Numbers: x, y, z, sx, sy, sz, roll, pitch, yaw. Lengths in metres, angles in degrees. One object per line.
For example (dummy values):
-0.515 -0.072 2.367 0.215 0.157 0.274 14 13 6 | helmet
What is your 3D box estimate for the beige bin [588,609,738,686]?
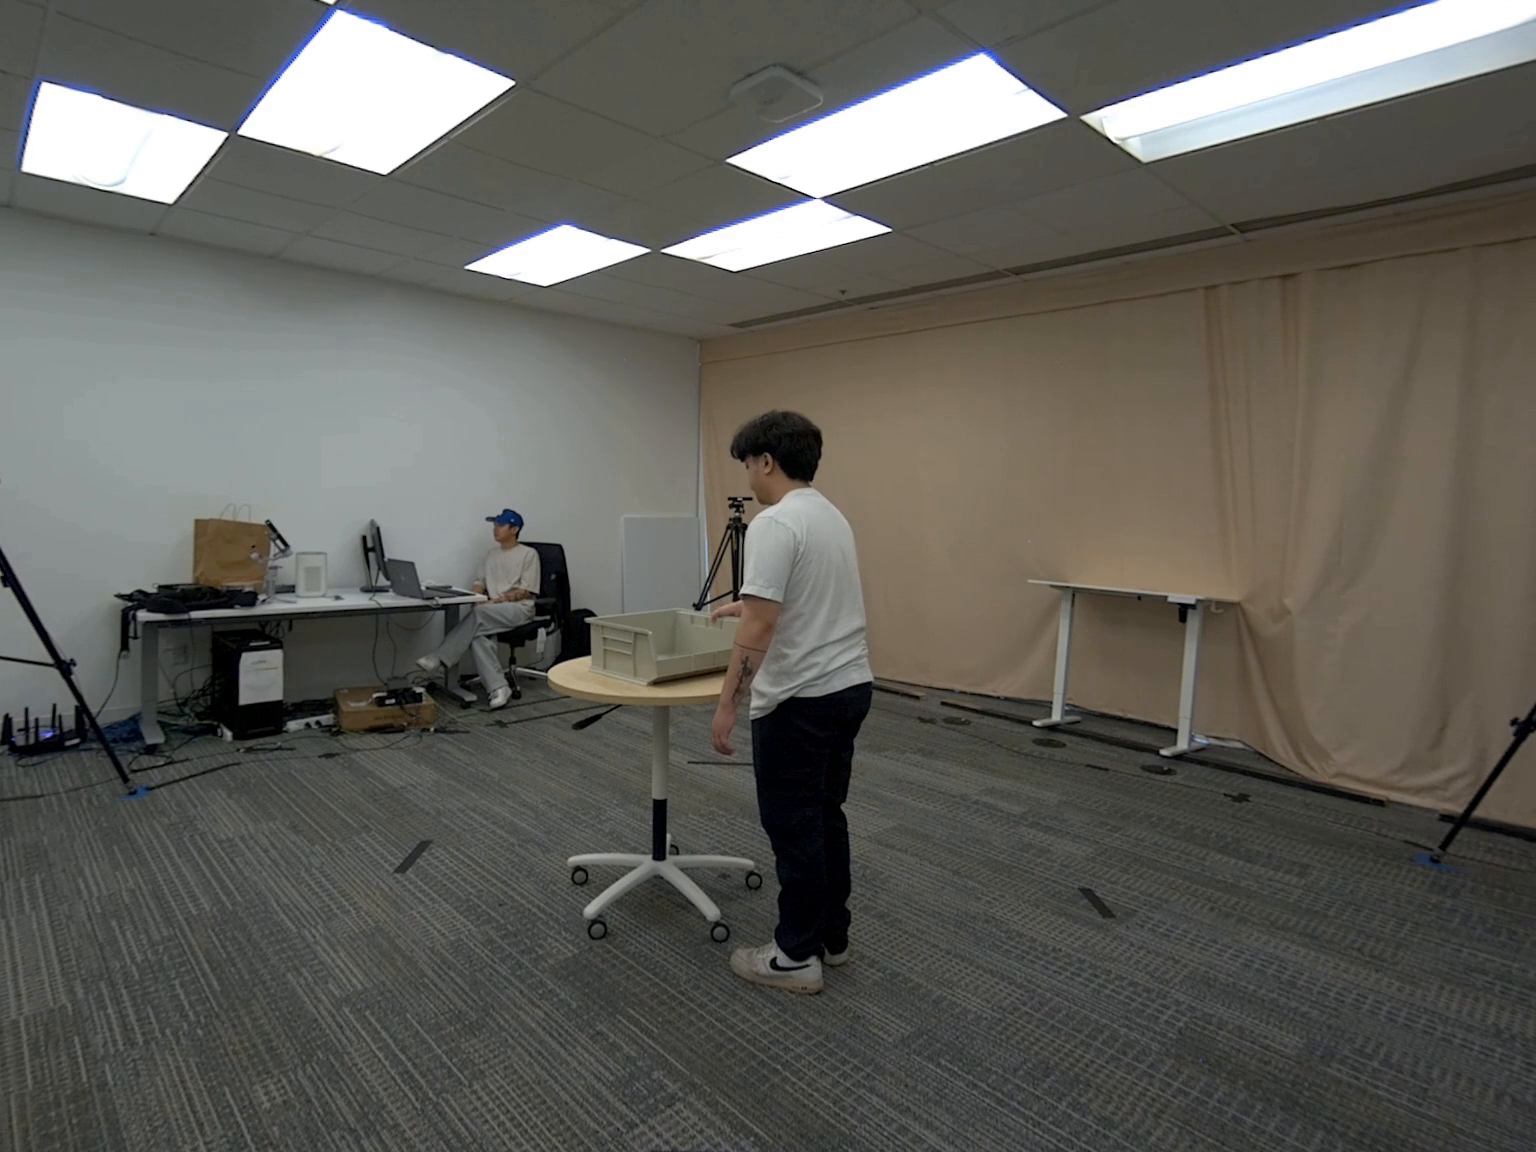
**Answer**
-0.341 0.242 2.872 0.387 0.188 0.413 5 7 43 | beige bin
